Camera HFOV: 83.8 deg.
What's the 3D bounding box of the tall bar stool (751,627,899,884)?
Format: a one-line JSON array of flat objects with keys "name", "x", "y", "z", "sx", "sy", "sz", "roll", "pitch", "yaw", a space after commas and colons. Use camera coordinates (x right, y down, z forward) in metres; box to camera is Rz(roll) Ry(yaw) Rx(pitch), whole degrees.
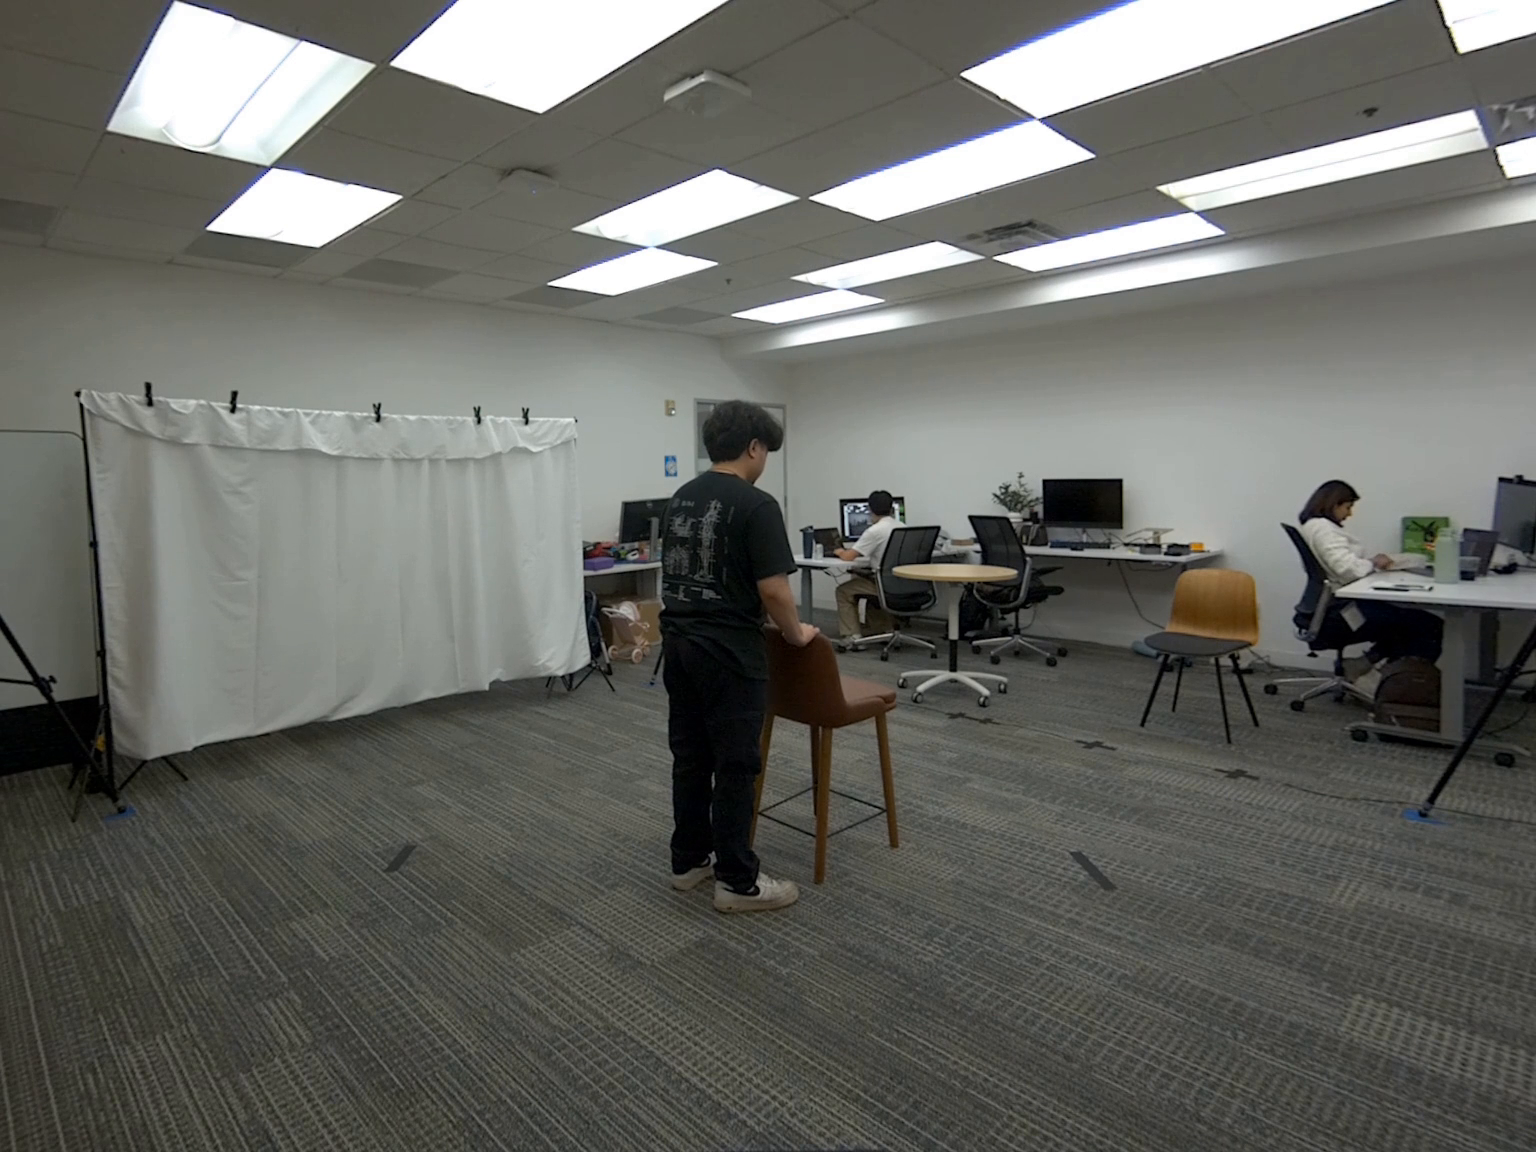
[{"name": "tall bar stool", "x": 0.189, "y": 0.587, "z": 3.174, "sx": 0.456, "sy": 0.884, "sz": 0.471, "roll": -8, "pitch": 9, "yaw": -44}]
